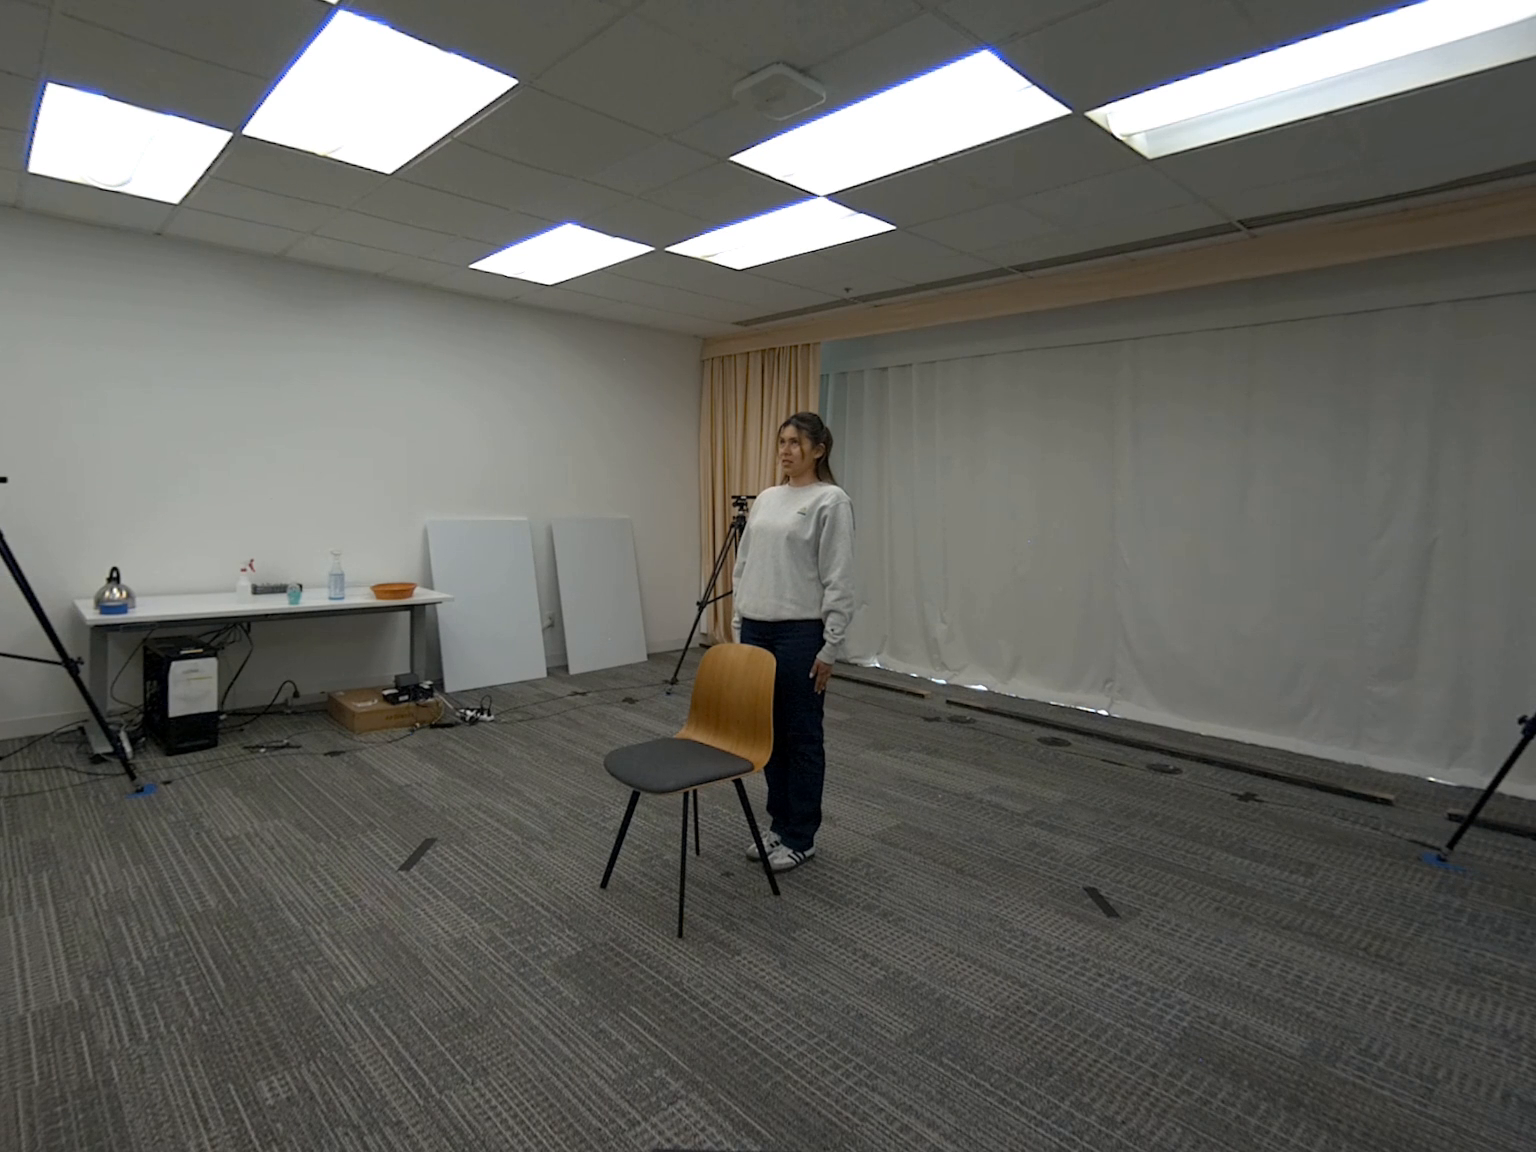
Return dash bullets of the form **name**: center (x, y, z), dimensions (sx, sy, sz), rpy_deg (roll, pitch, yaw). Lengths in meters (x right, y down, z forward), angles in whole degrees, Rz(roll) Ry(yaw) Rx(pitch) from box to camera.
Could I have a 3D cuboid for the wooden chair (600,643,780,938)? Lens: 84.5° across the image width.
- **wooden chair**: center (-0.276, 0.691, 2.918), dimensions (0.510, 0.877, 0.490), rpy_deg (4, 1, -44)
